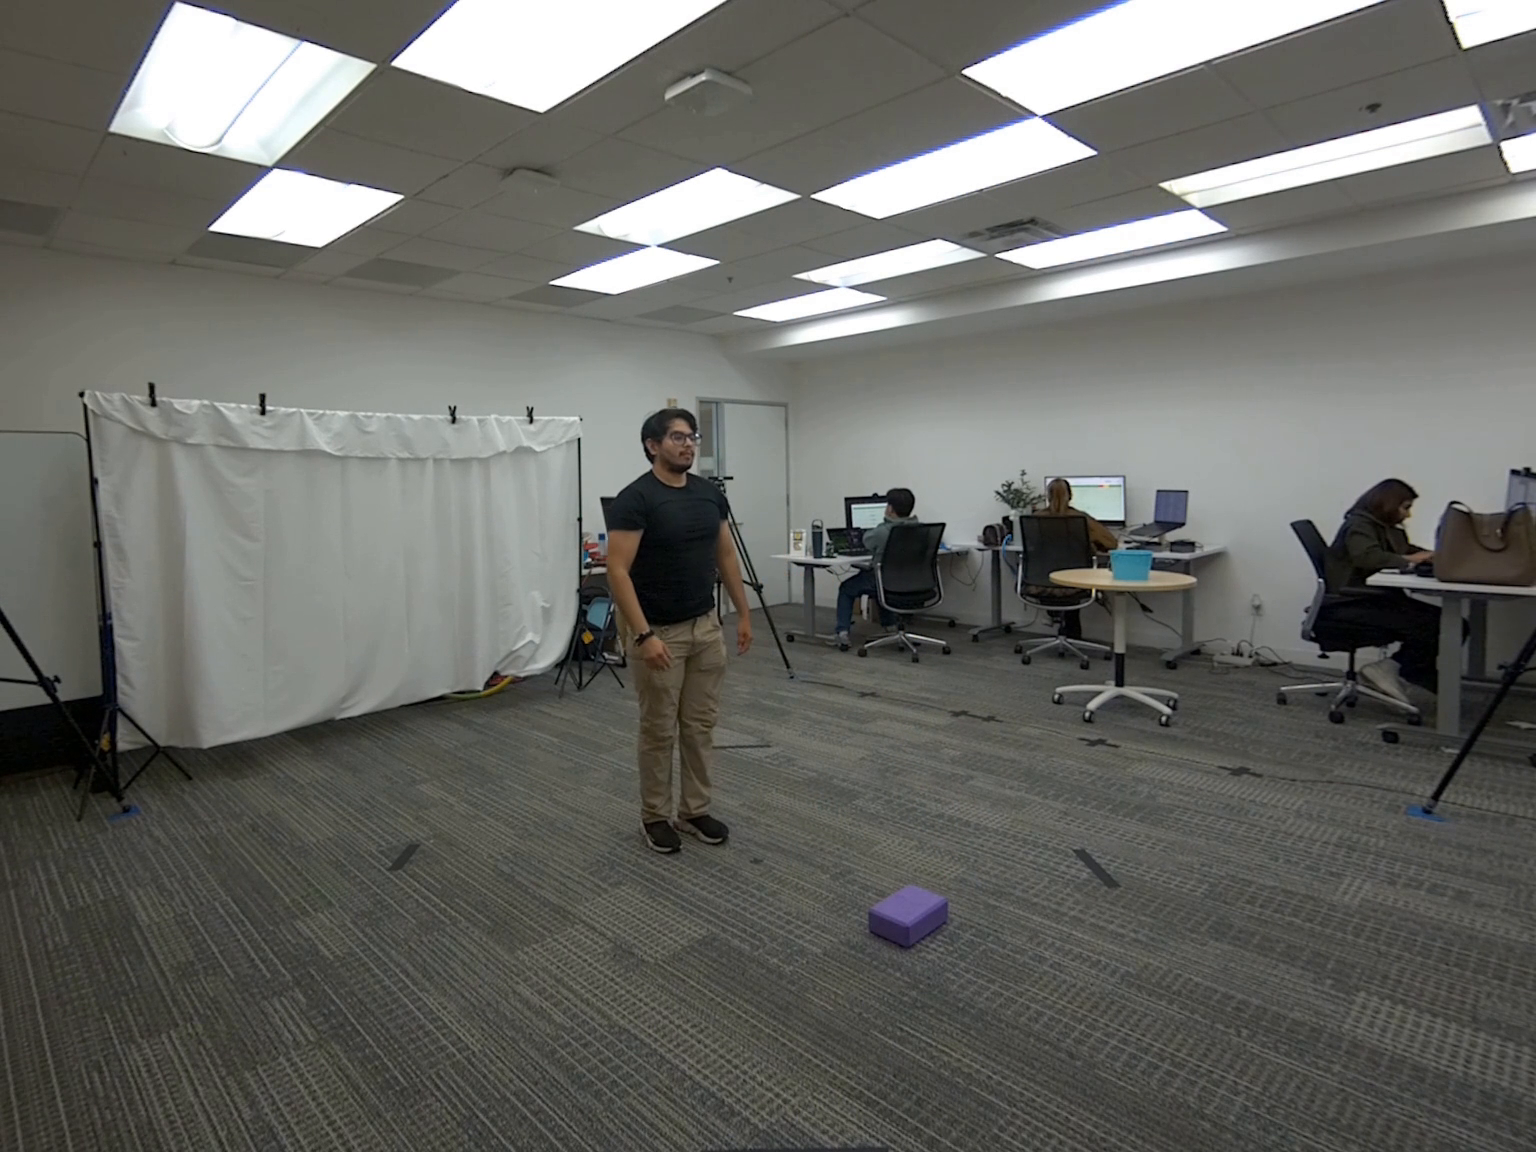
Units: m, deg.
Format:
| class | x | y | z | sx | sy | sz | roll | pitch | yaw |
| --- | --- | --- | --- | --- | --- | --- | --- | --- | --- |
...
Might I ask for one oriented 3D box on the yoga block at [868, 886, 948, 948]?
| class | x | y | z | sx | sy | sz | roll | pitch | yaw |
| --- | --- | --- | --- | --- | --- | --- | --- | --- | --- |
| yoga block | 0.439 | 1.044 | 2.630 | 0.153 | 0.076 | 0.223 | 4 | 8 | 44 |
